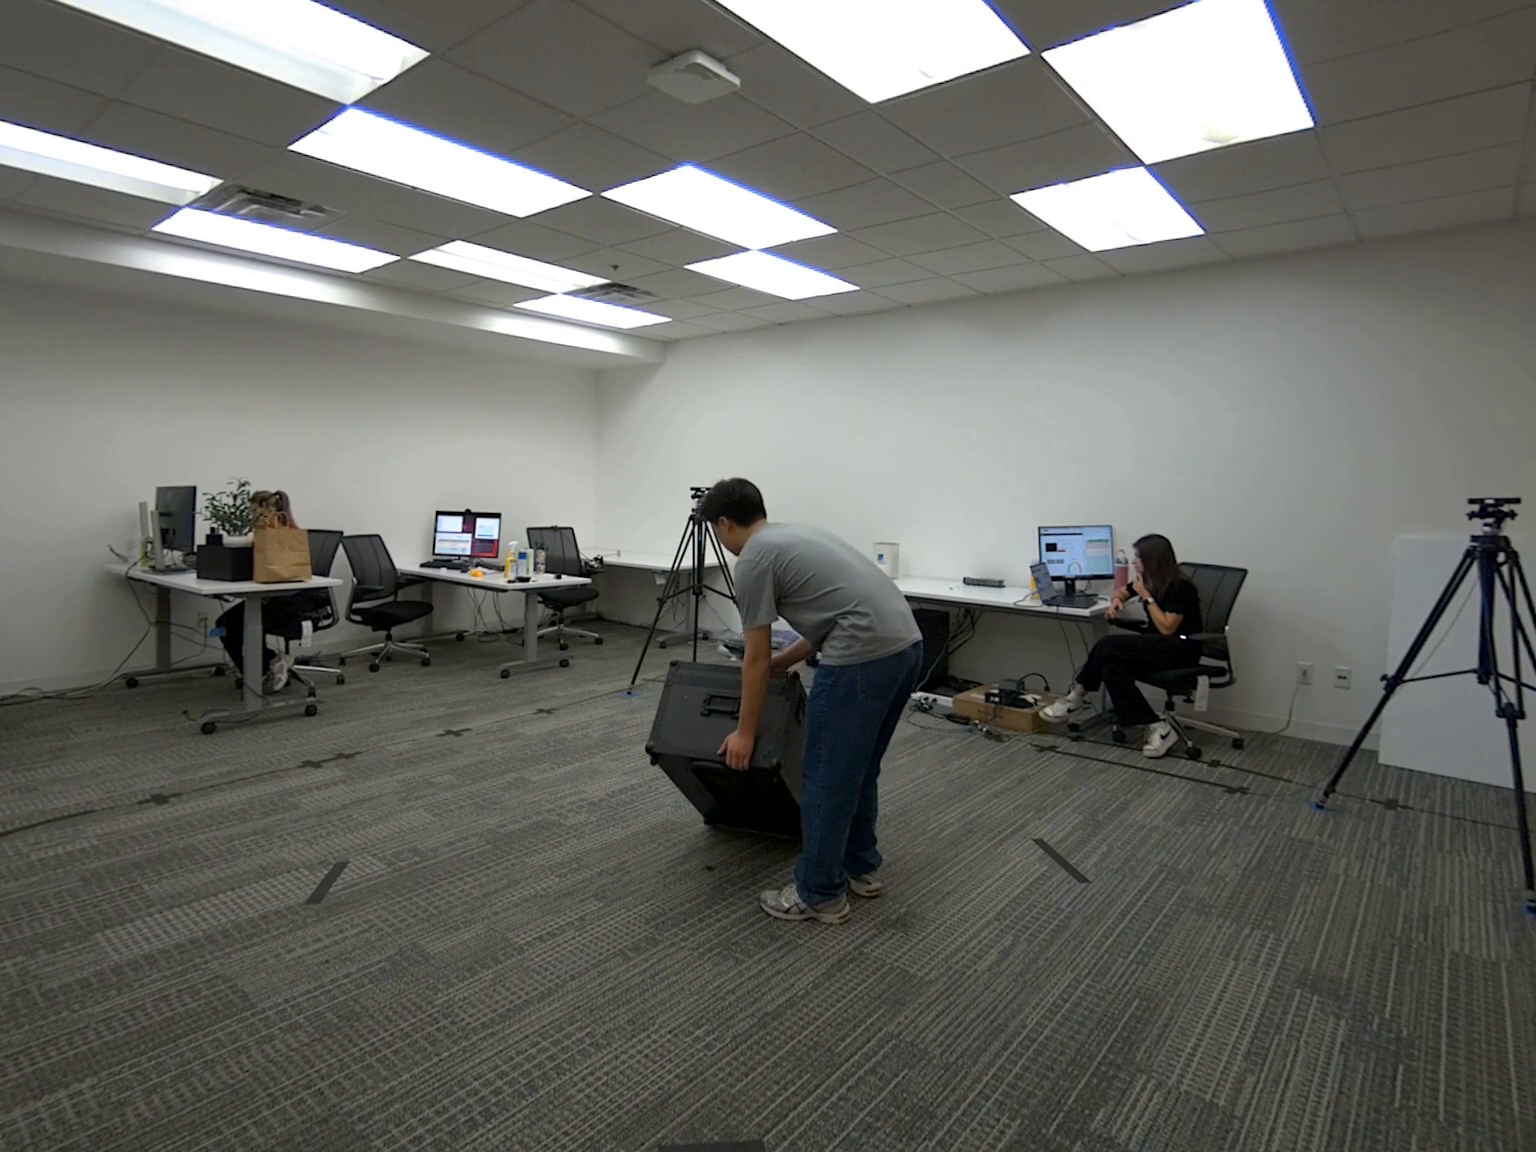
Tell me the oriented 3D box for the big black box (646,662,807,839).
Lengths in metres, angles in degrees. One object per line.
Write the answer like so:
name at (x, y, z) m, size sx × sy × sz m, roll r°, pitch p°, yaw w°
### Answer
big black box at (-0.080, 0.699, 3.260) m, size 0.533 × 0.403 × 0.829 m, roll 3°, pitch -32°, yaw 19°
